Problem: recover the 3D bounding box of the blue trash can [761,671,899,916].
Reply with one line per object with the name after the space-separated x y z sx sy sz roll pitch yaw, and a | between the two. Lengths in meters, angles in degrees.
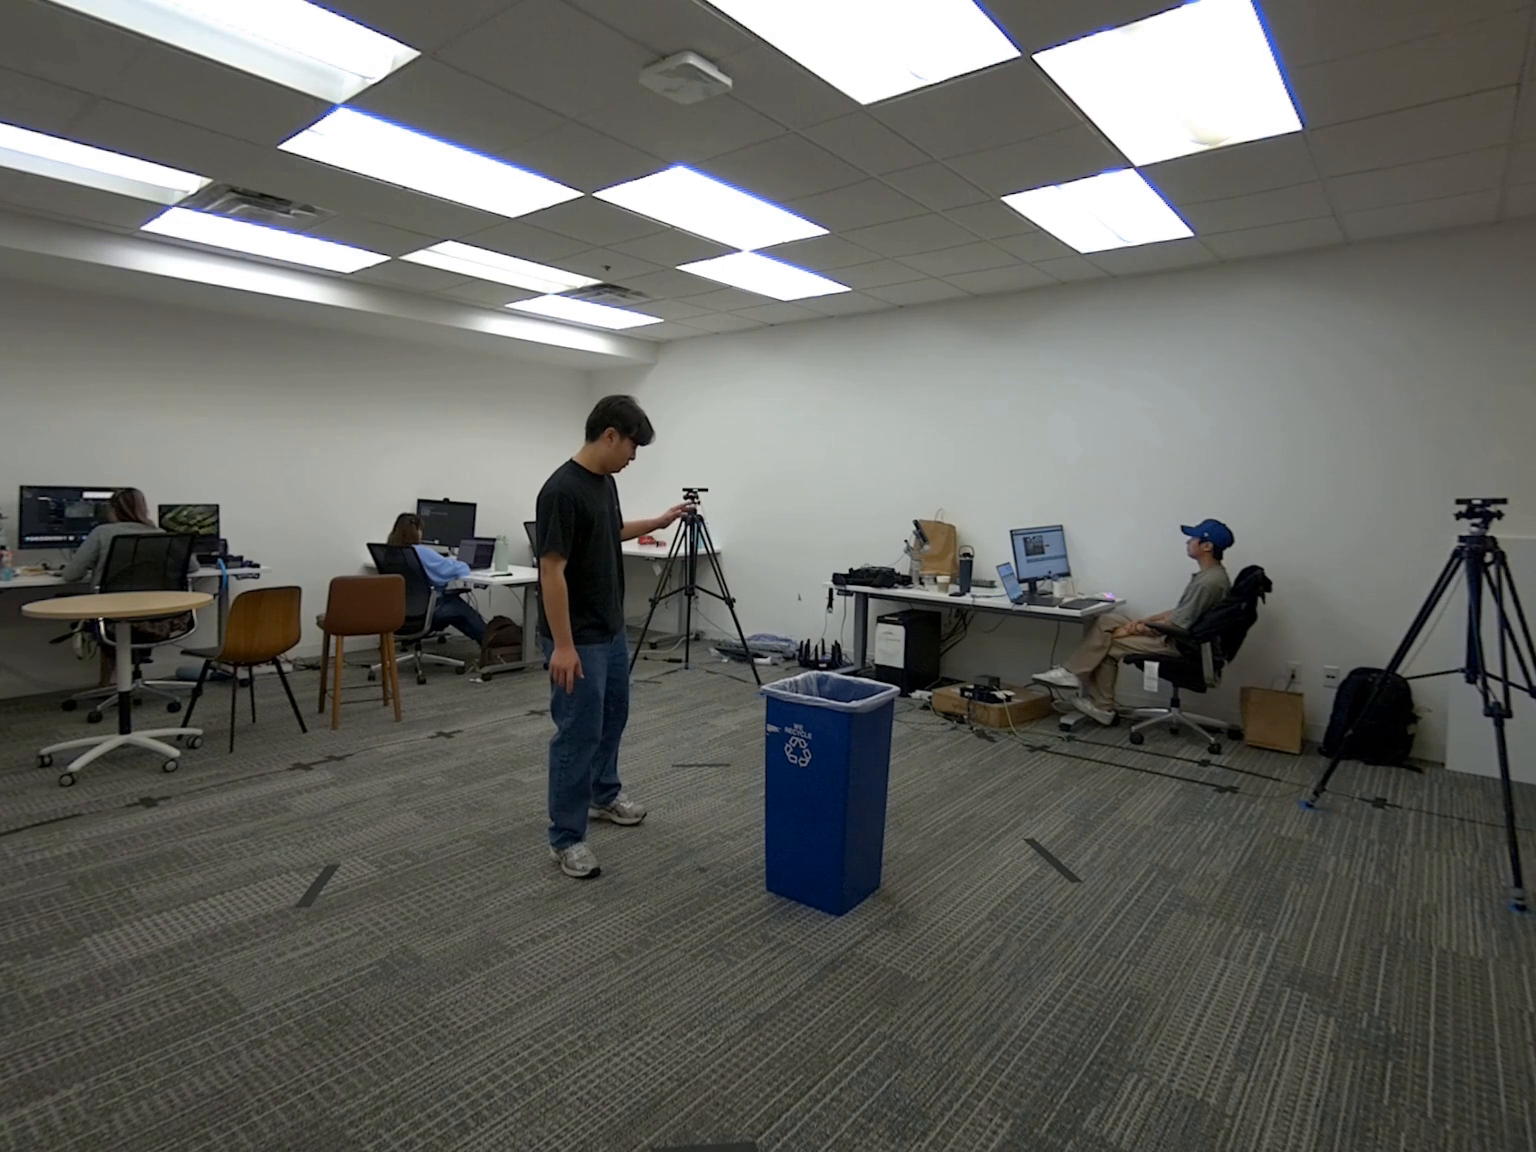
0.208 0.734 2.967 0.386 0.711 0.367 4 4 35 | blue trash can
